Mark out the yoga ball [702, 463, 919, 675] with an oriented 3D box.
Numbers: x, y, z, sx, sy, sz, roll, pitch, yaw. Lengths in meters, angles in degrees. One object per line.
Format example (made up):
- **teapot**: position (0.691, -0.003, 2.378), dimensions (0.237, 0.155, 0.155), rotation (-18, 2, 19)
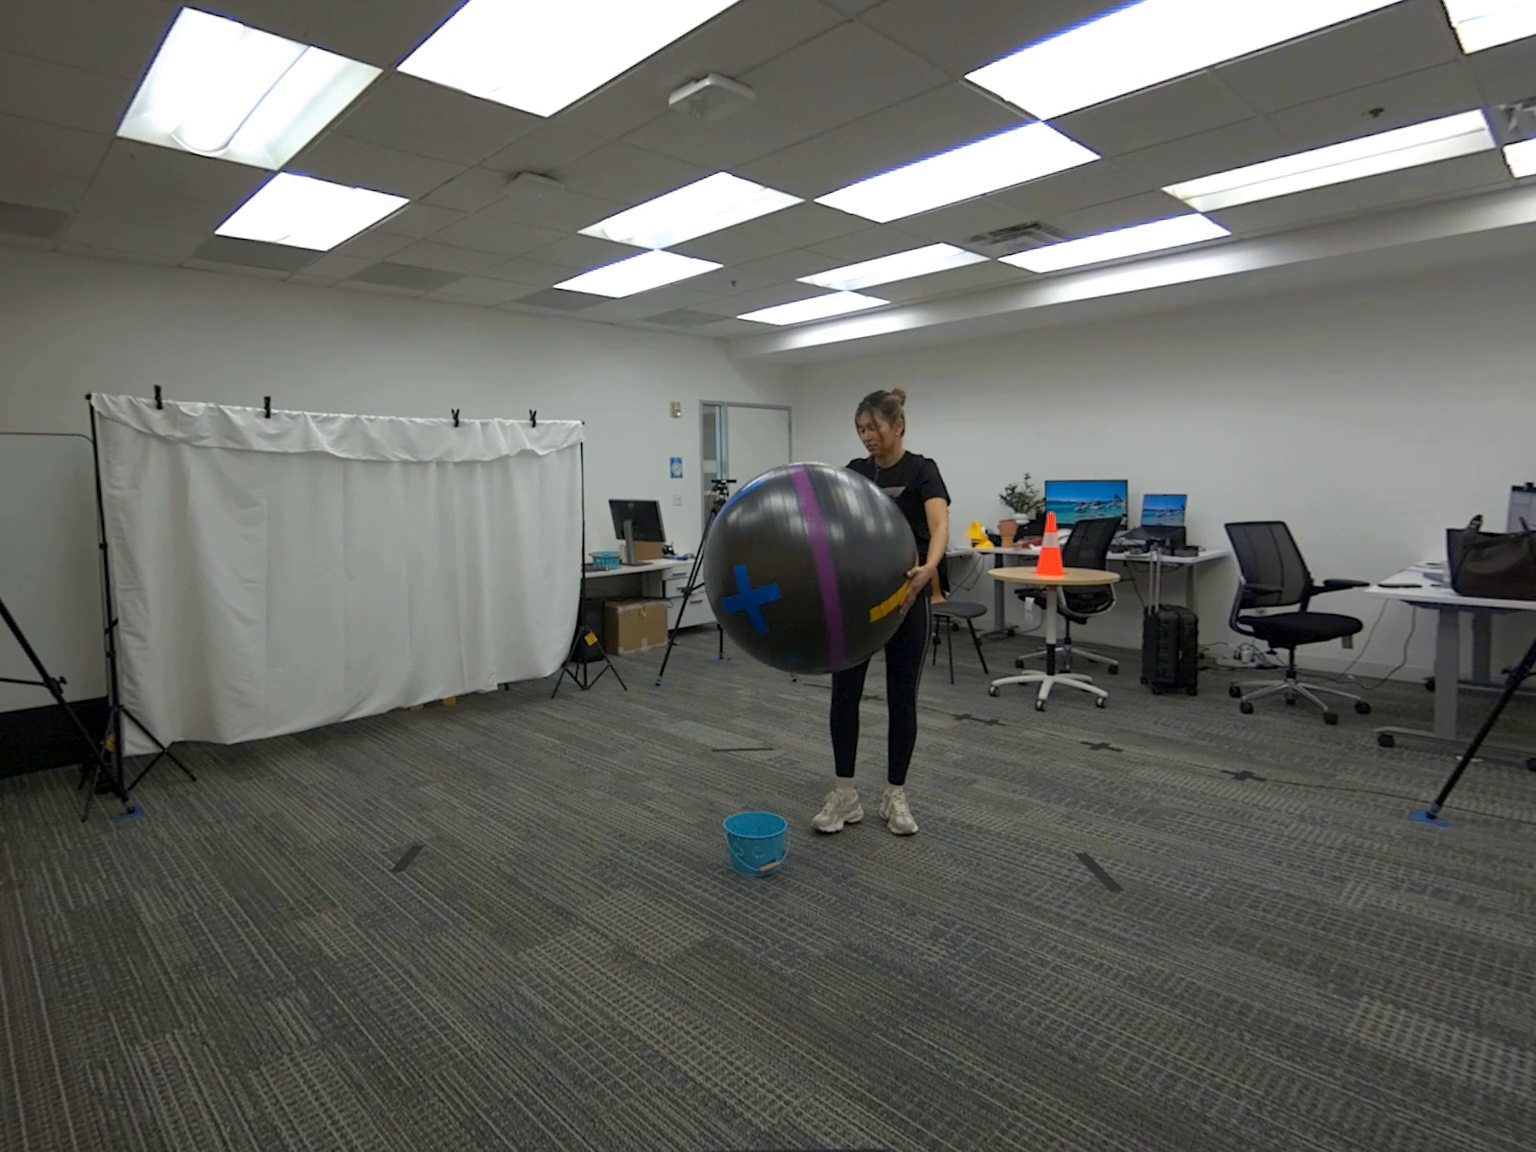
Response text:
- **yoga ball**: position (0.151, -0.020, 3.045), dimensions (0.757, 0.755, 0.762), rotation (-1, 5, -2)
